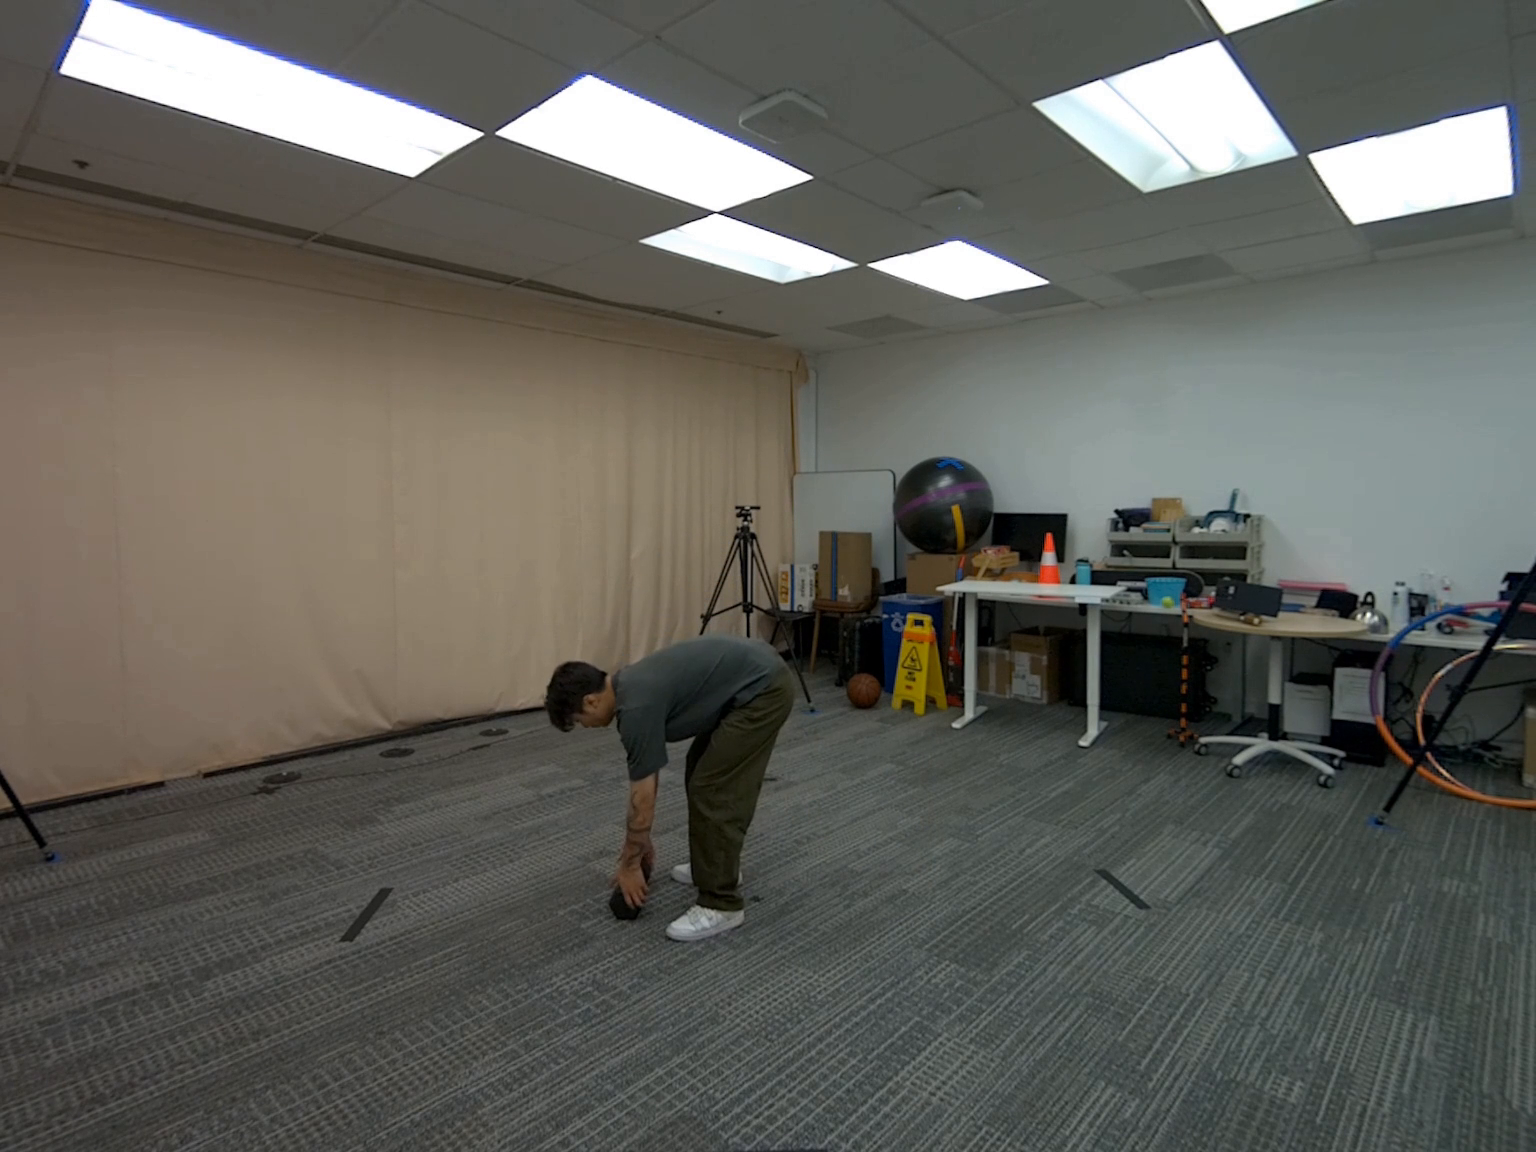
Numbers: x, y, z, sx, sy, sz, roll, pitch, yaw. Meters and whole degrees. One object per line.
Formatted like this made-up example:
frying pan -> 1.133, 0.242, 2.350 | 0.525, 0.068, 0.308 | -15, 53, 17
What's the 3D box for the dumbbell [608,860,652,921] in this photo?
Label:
dumbbell -> -0.480, 1.098, 2.972 | 0.108, 0.123, 0.294 | 31, 3, -4
